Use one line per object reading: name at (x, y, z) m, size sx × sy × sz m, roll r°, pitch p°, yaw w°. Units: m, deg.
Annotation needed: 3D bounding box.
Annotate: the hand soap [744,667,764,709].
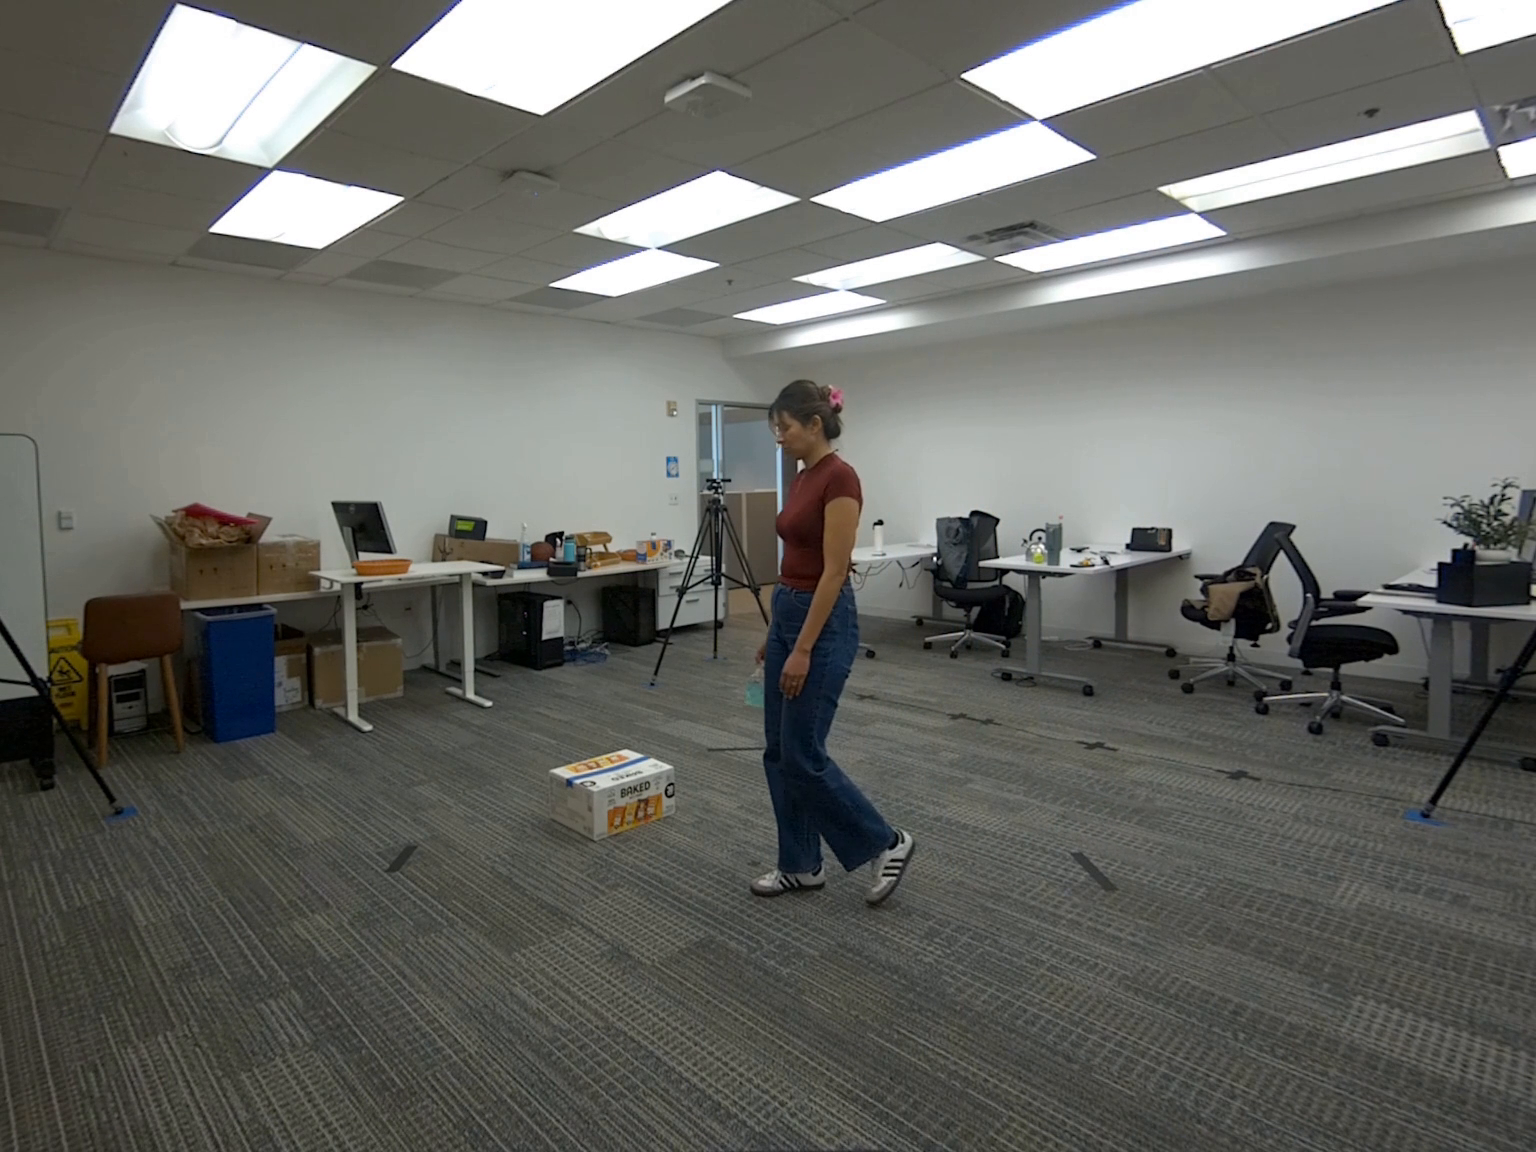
hand soap at (-0.017, 0.387, 3.106) m, size 0.085 × 0.167 × 0.043 m, roll 7°, pitch 4°, yaw 5°
